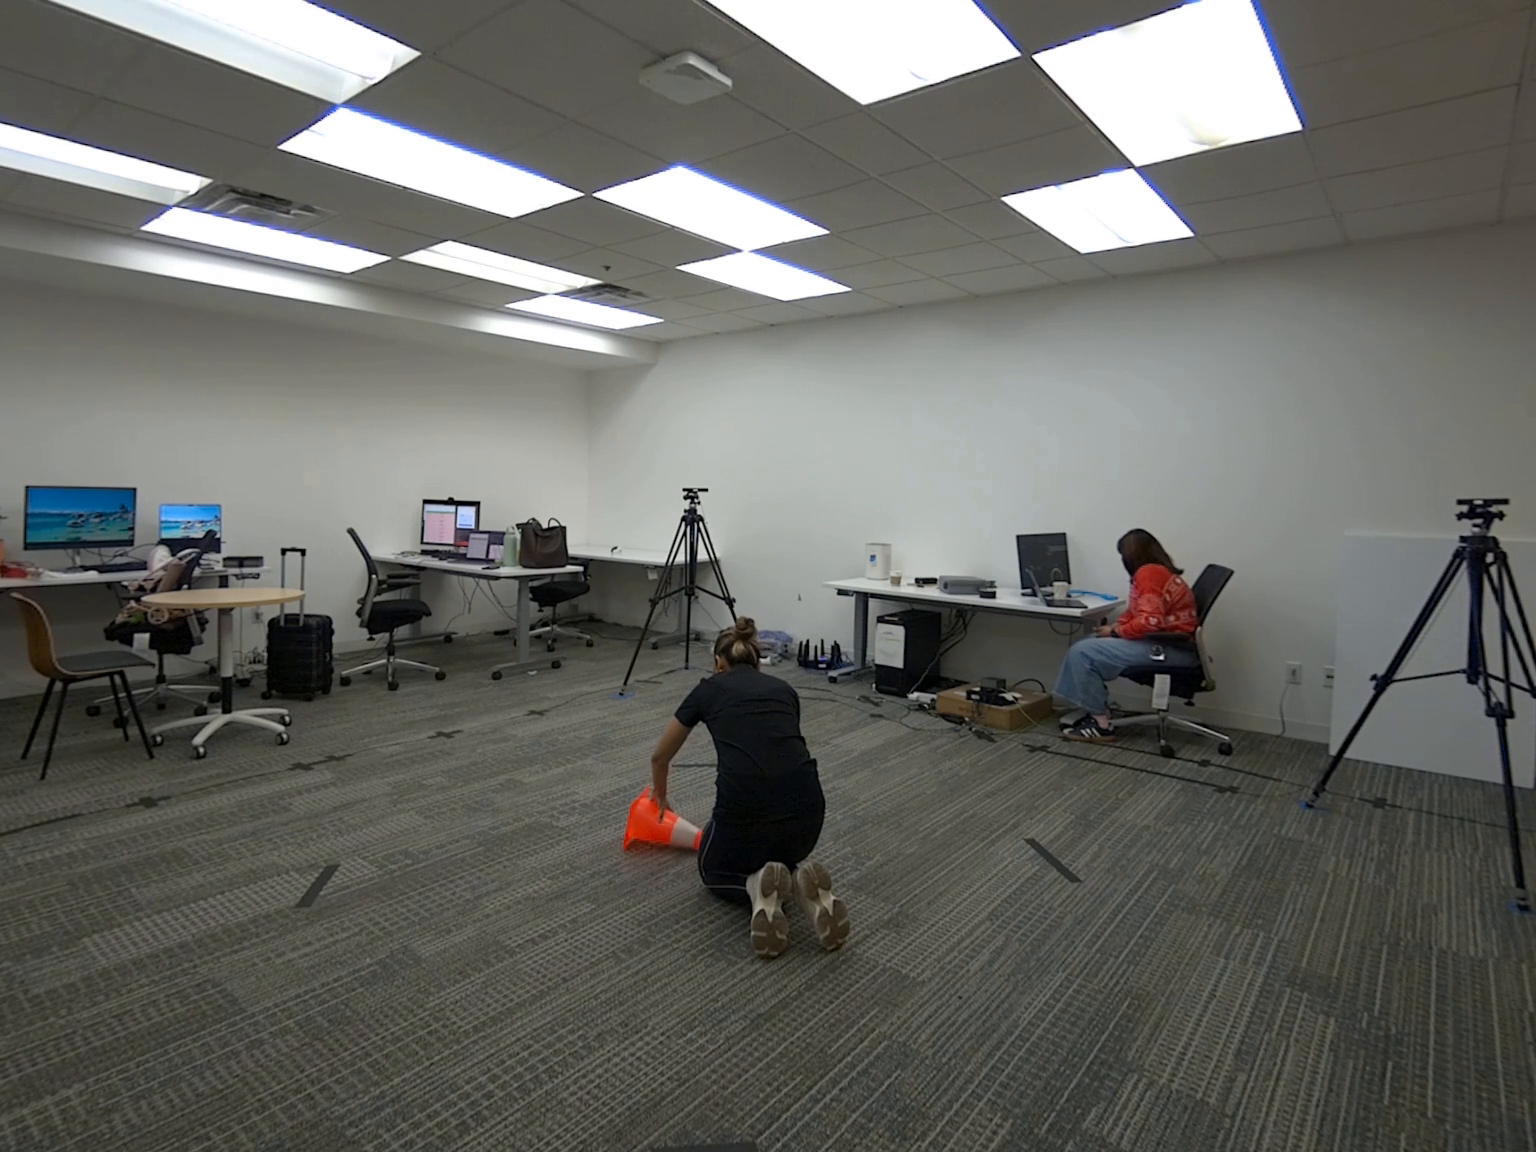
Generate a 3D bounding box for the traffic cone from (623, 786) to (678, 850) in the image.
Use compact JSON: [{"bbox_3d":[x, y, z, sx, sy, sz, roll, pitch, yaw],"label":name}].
[{"bbox_3d":[-0.348,0.994,3.282,0.391,0.201,0.203,15,14,14],"label":"traffic cone"}]
